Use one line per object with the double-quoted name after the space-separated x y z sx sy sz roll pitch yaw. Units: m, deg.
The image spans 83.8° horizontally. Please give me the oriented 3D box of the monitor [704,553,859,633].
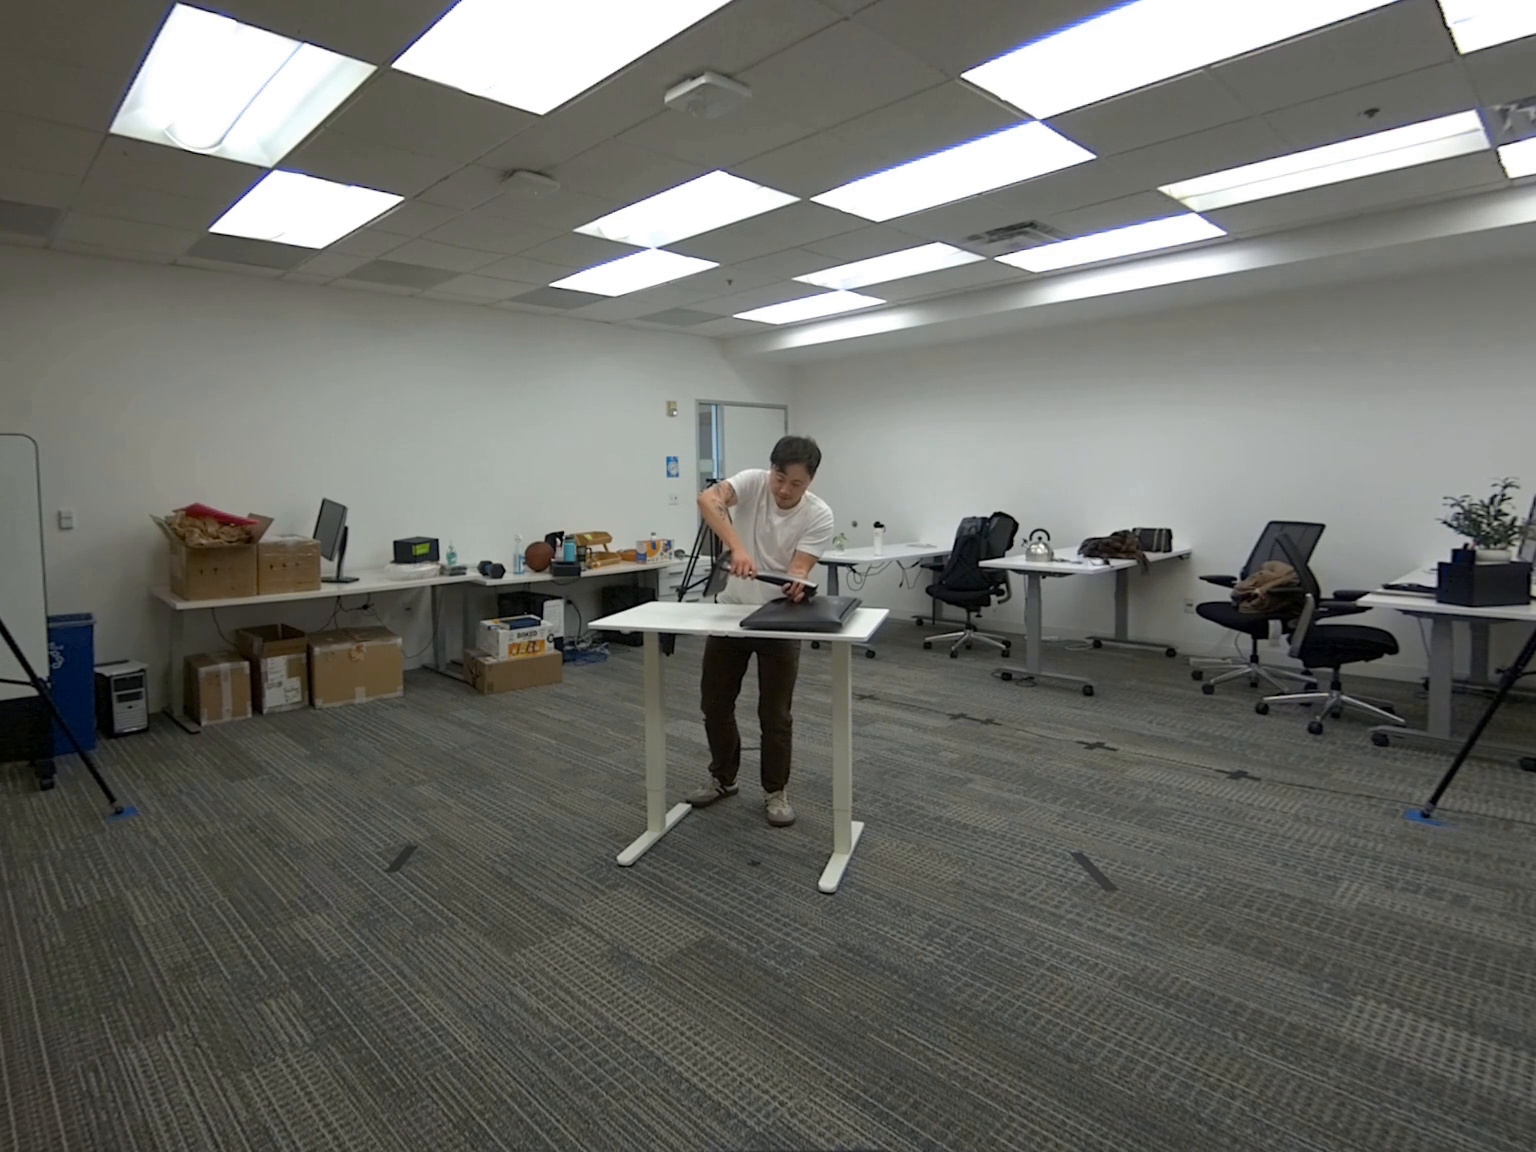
0.056 0.075 3.128 0.532 0.186 0.533 19 13 14 "monitor"
